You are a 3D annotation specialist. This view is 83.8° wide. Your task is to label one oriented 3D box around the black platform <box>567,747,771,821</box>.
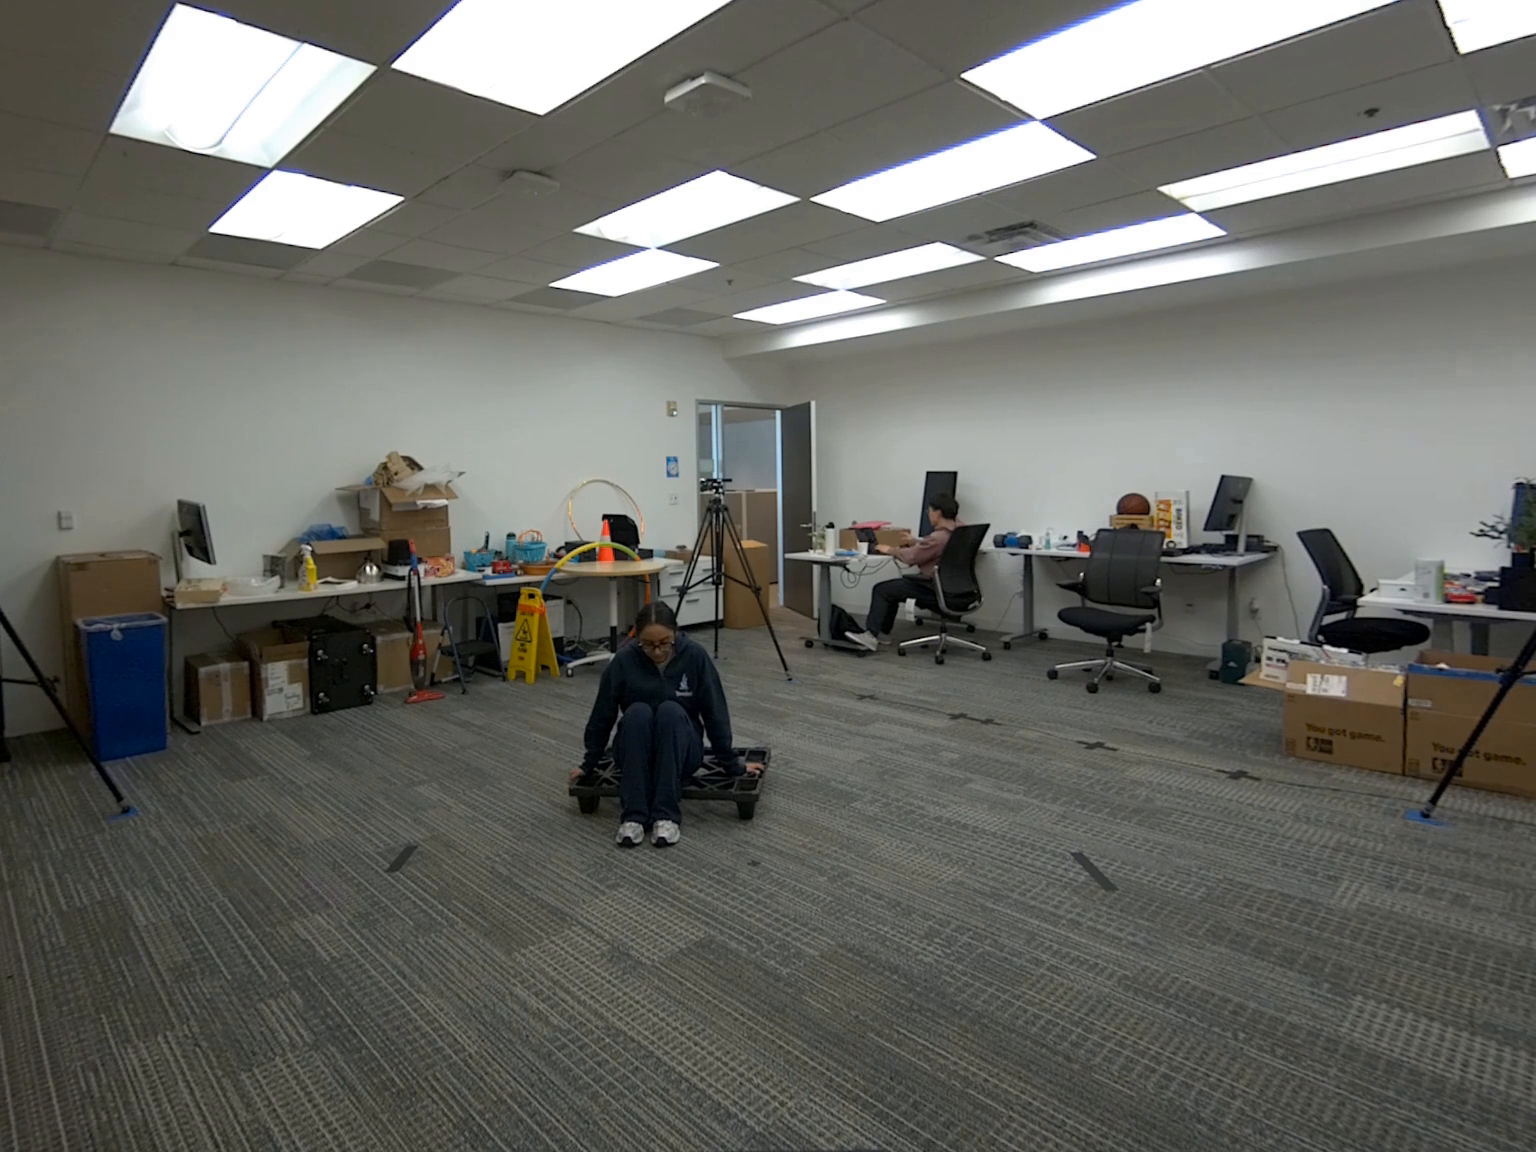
[{"bbox_3d":[-0.405,0.906,3.790,0.812,0.143,0.603,0,6,7],"label":"black platform"}]
